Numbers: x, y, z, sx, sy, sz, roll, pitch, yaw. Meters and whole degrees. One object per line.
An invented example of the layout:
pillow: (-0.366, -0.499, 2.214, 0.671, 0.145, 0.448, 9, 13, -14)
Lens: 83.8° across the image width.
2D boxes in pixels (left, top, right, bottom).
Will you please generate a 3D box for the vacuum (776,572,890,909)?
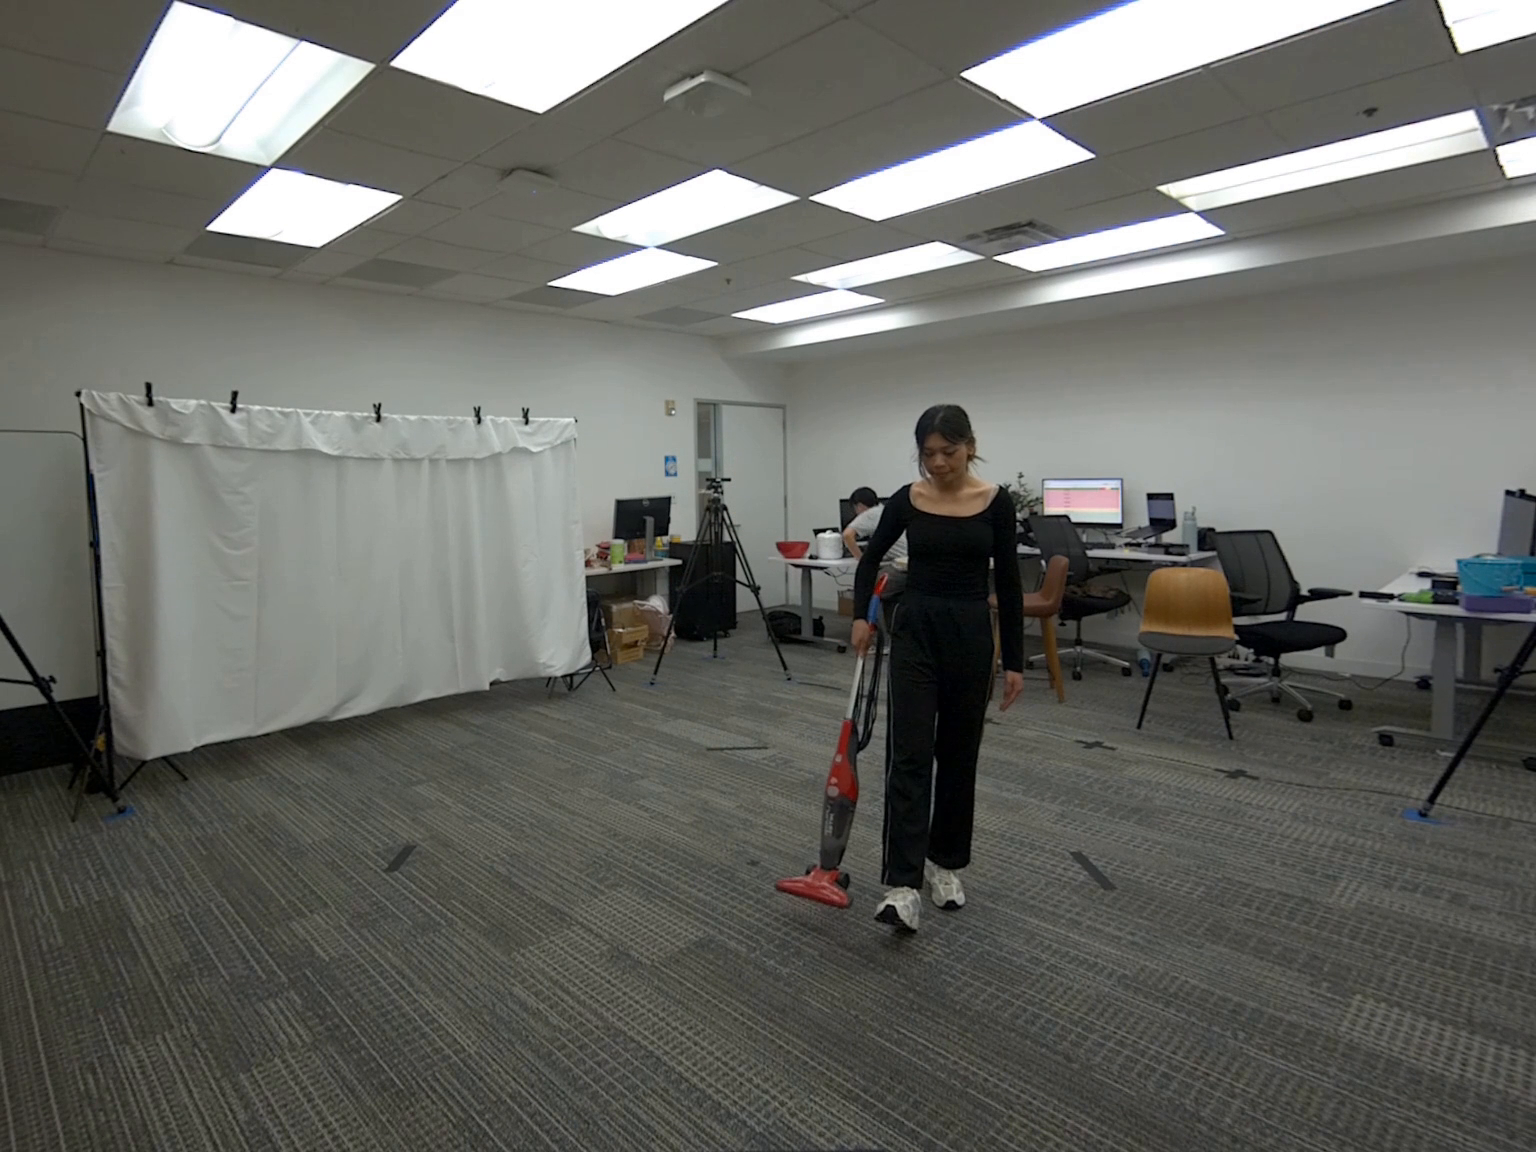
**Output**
vacuum: (0.284, 0.488, 2.807, 0.259, 1.062, 0.139, -8, -29, 45)
